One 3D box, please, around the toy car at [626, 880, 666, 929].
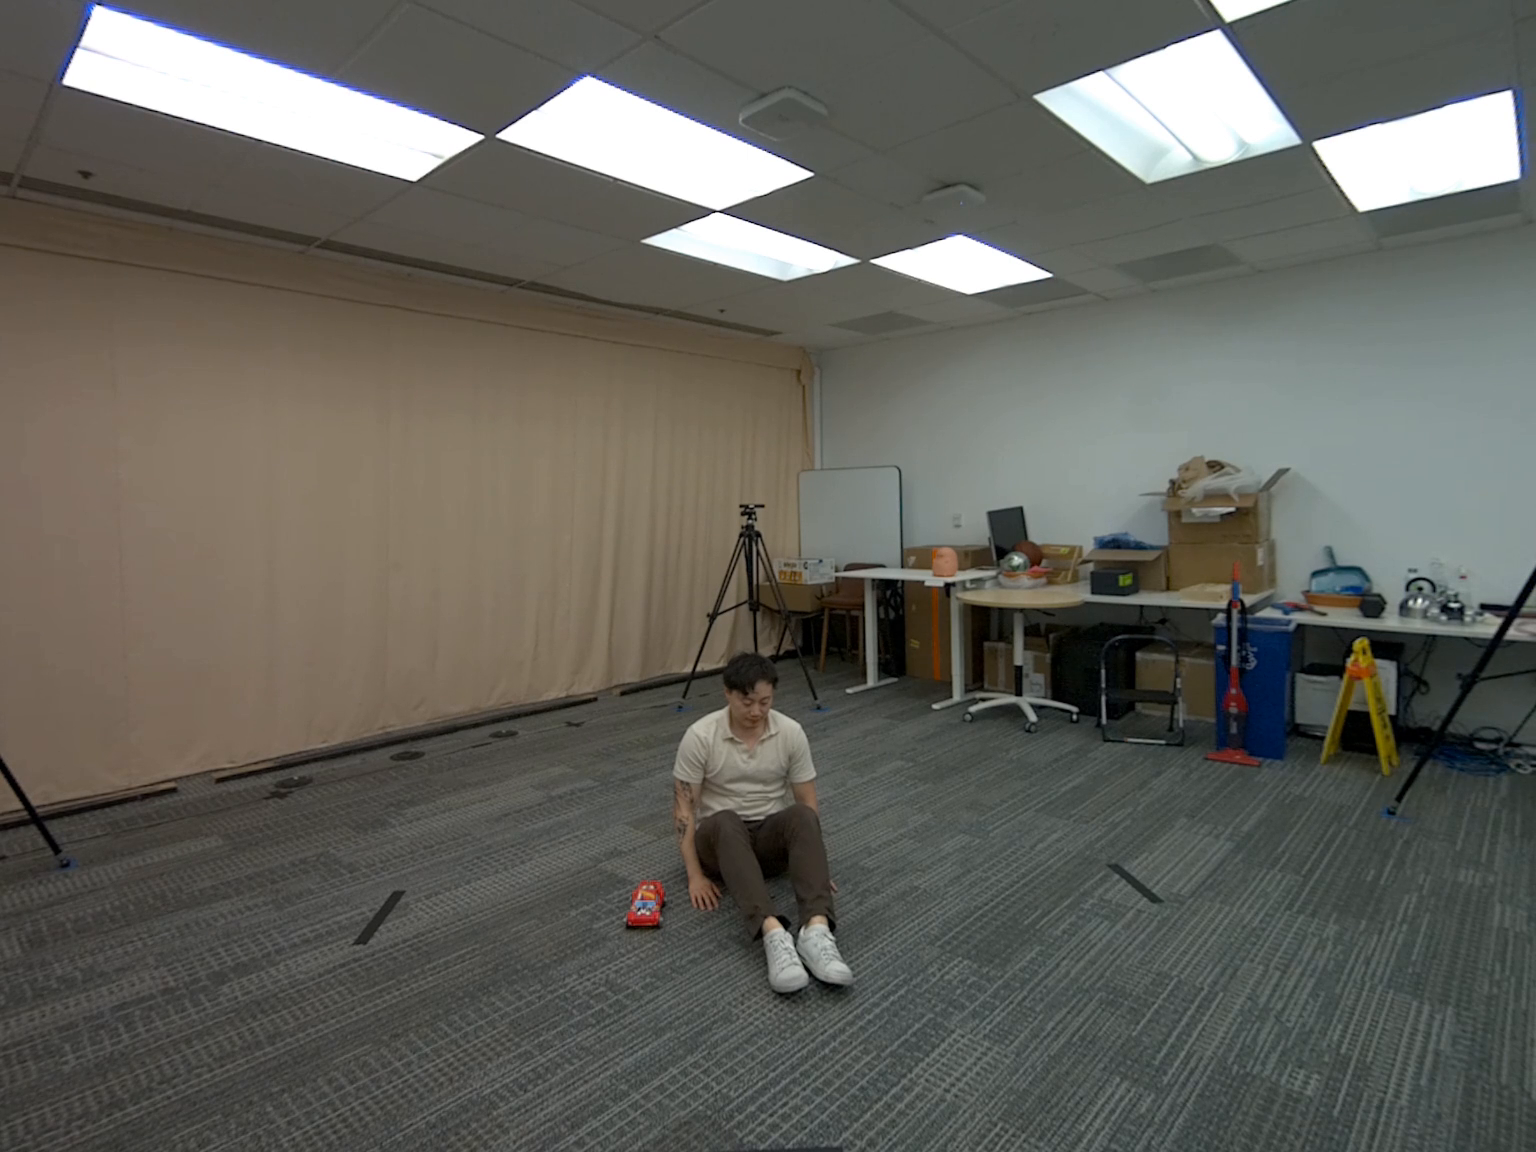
[{"bbox_3d":[-0.417,1.130,2.888,0.130,0.082,0.256,-1,15,0],"label":"toy car"}]
